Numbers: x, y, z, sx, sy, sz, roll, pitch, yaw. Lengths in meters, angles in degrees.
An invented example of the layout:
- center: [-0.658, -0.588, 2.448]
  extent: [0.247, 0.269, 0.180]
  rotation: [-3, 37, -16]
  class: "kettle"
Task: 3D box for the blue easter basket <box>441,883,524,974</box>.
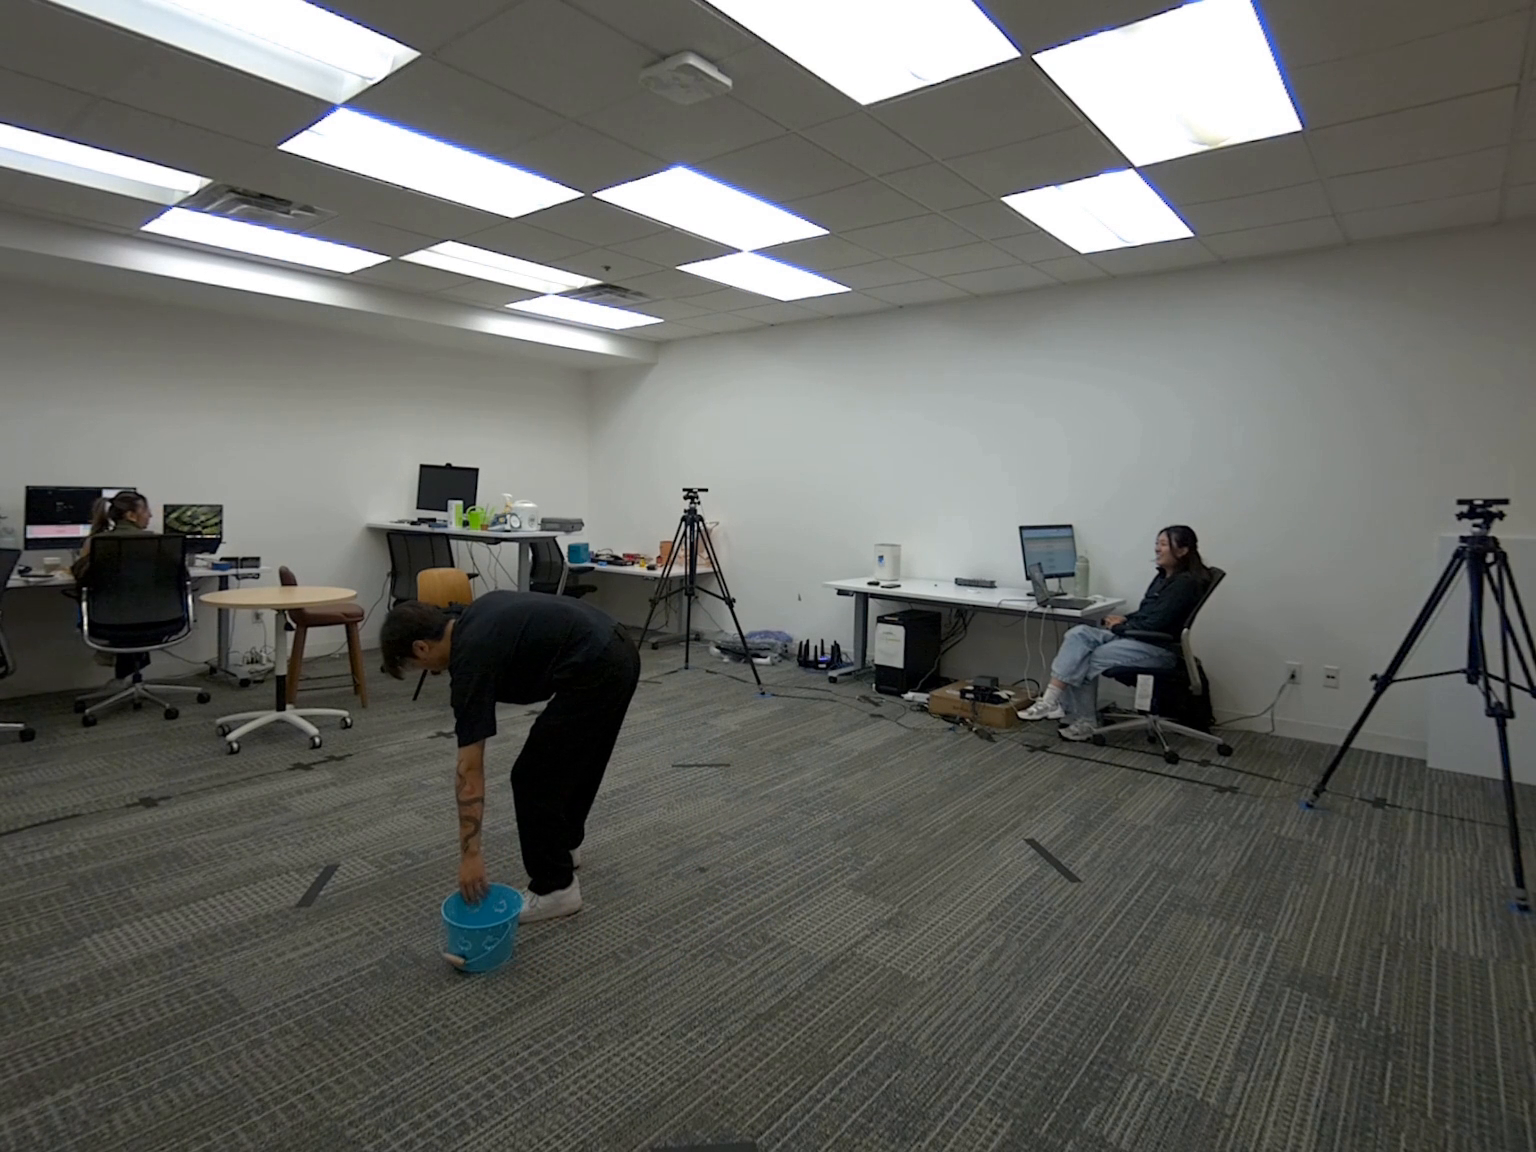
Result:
- center: [-0.845, 1.034, 2.513]
  extent: [0.243, 0.155, 0.246]
  rotation: [4, 9, -2]
  class: "blue easter basket"
